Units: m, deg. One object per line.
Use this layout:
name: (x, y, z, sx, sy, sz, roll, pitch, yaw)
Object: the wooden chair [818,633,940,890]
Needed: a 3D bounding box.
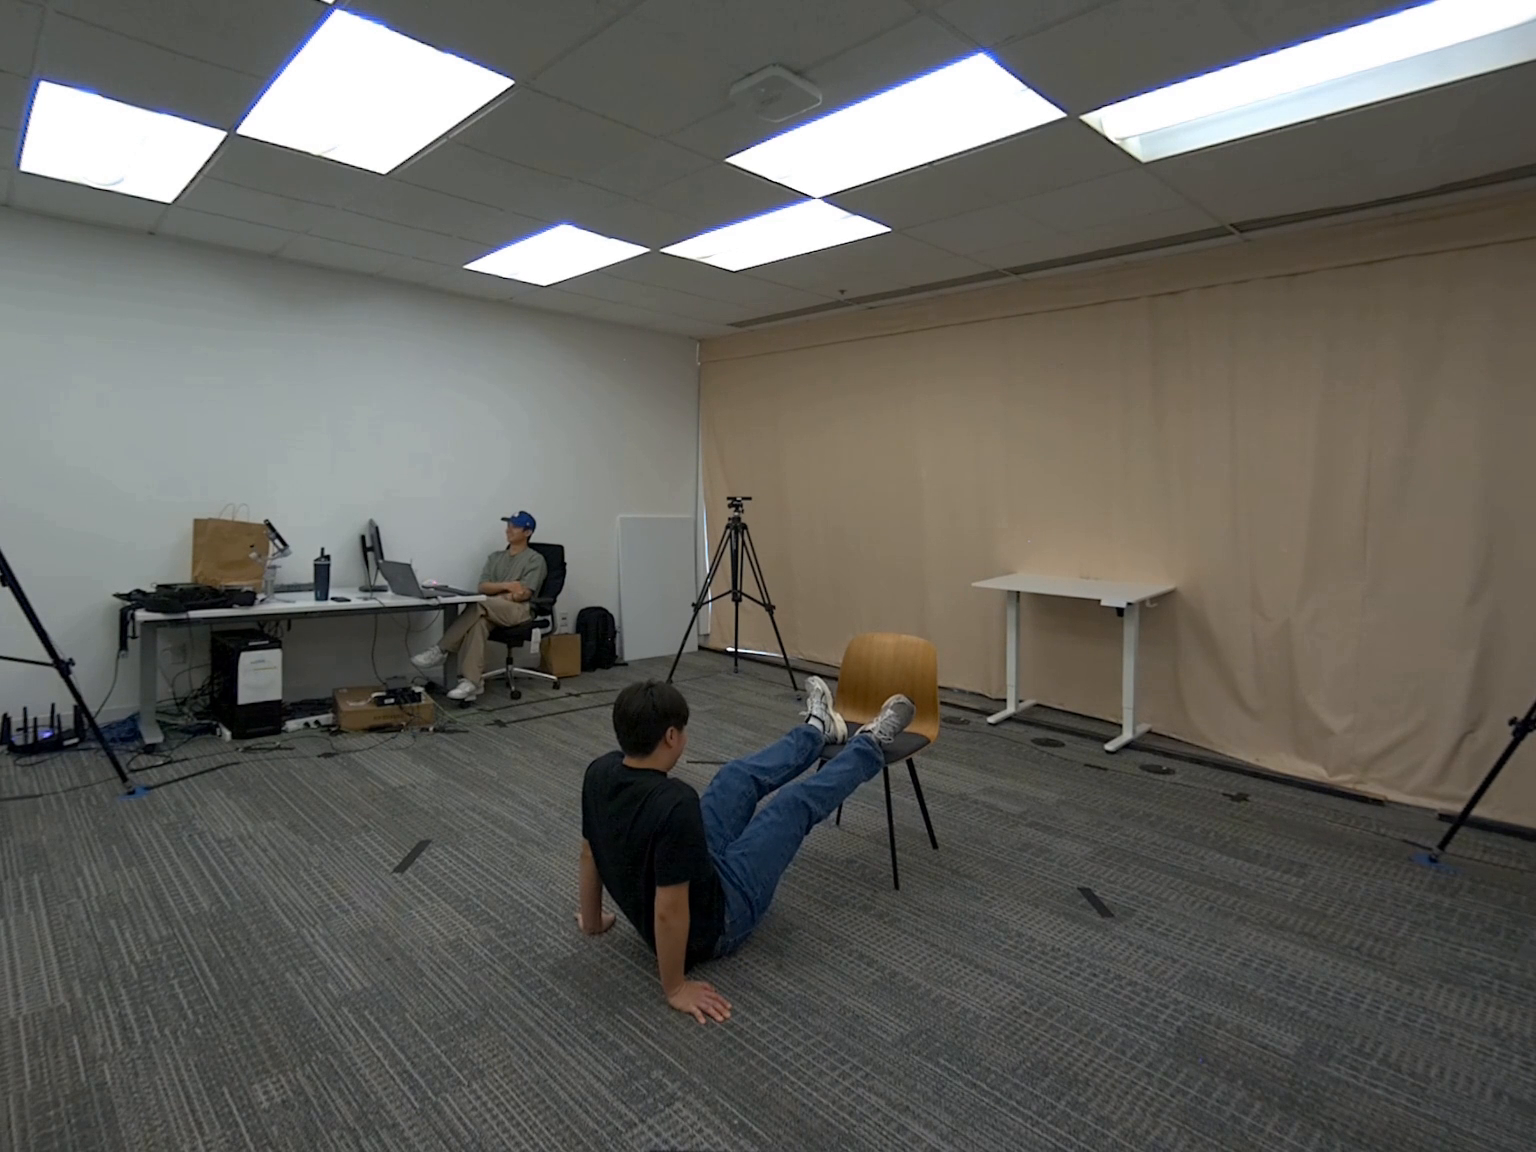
wooden chair: (0.385, 0.675, 3.297, 0.489, 0.878, 0.511, 3, -1, 31)
